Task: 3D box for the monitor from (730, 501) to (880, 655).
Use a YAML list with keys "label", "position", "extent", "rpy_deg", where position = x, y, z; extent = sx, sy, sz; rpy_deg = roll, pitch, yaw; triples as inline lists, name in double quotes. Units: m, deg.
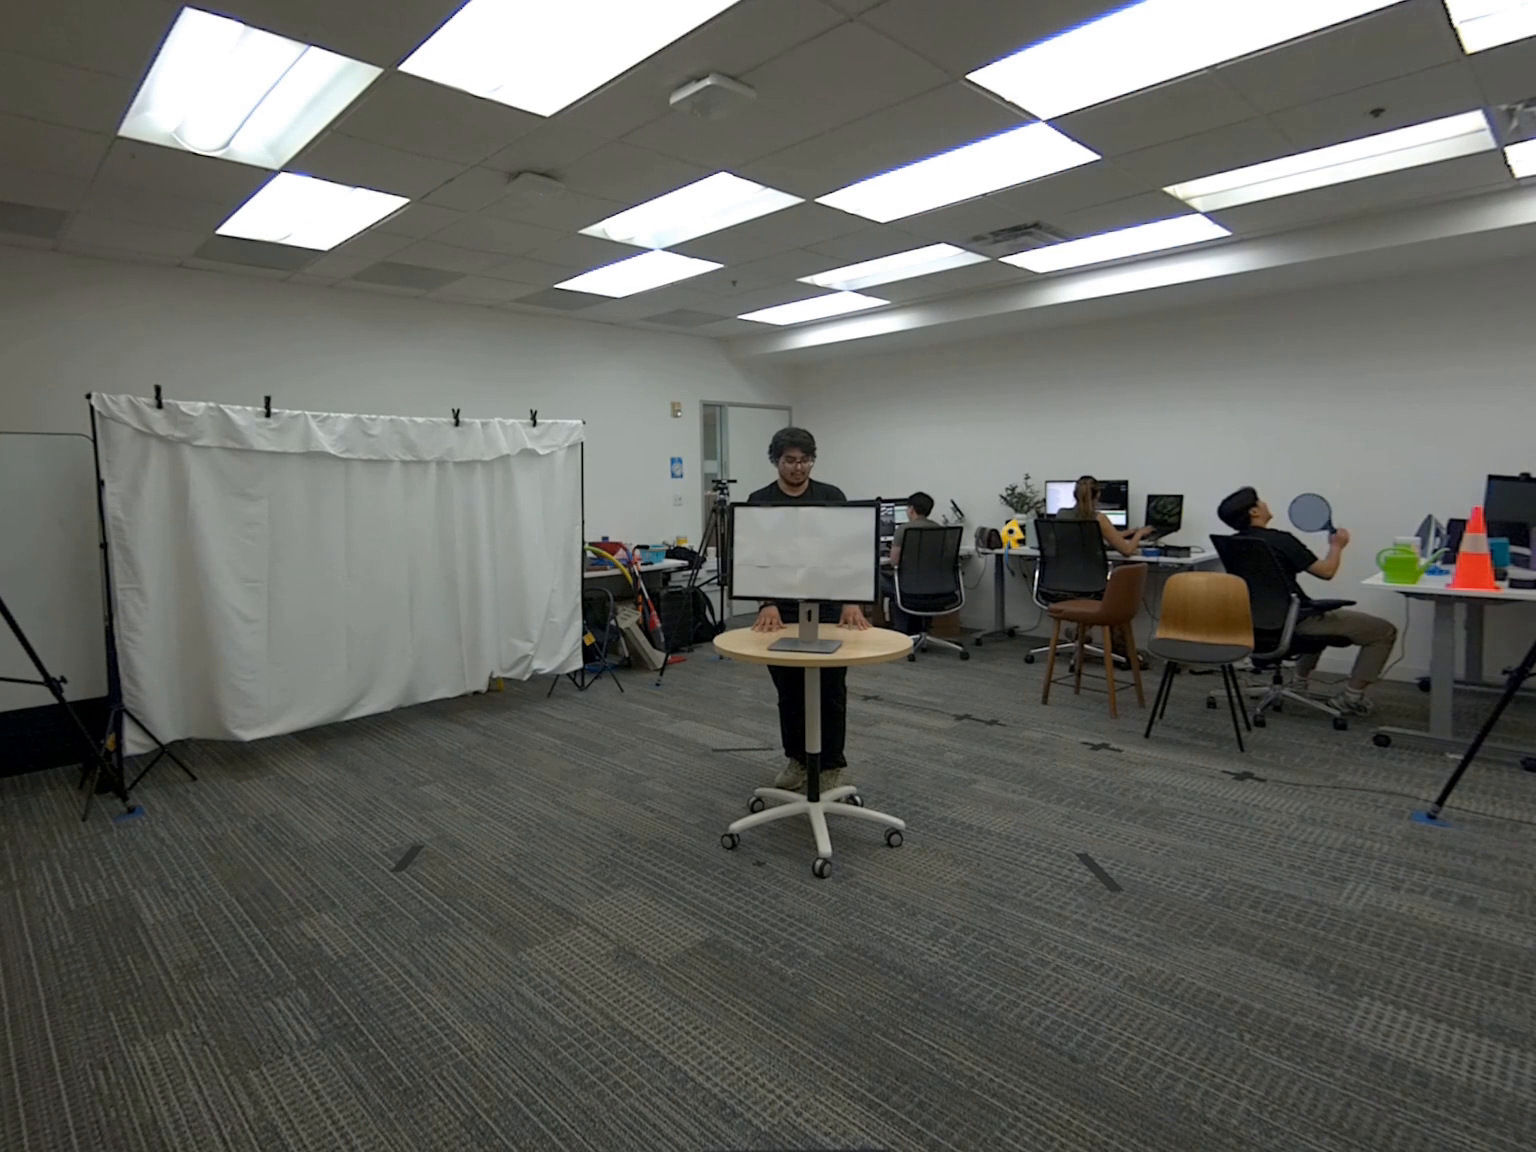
- label: "monitor"
  position: [0.147, 0.004, 3.154]
  extent: [0.575, 0.553, 0.206]
  rpy_deg: [1, 1, 18]
